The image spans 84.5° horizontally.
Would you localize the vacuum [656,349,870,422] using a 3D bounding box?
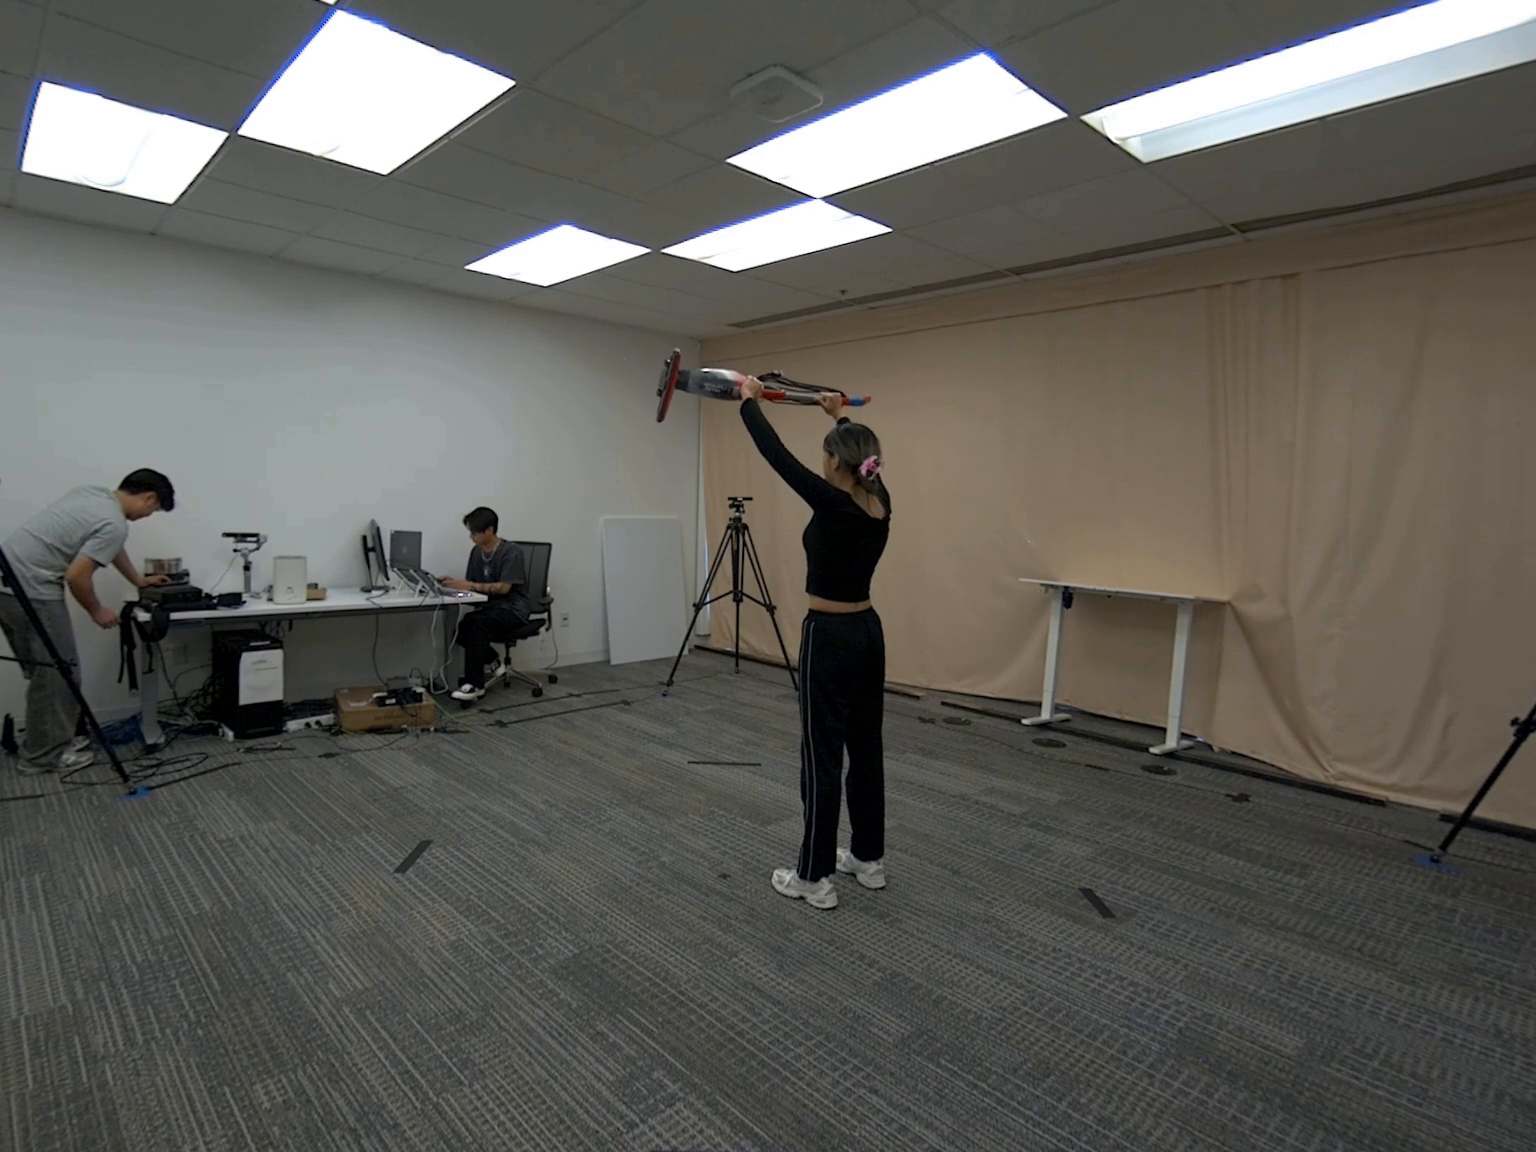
[{"bbox_3d":[0.022,-0.696,3.199,1.027,0.250,0.148,-6,35,-41],"label":"vacuum"}]
